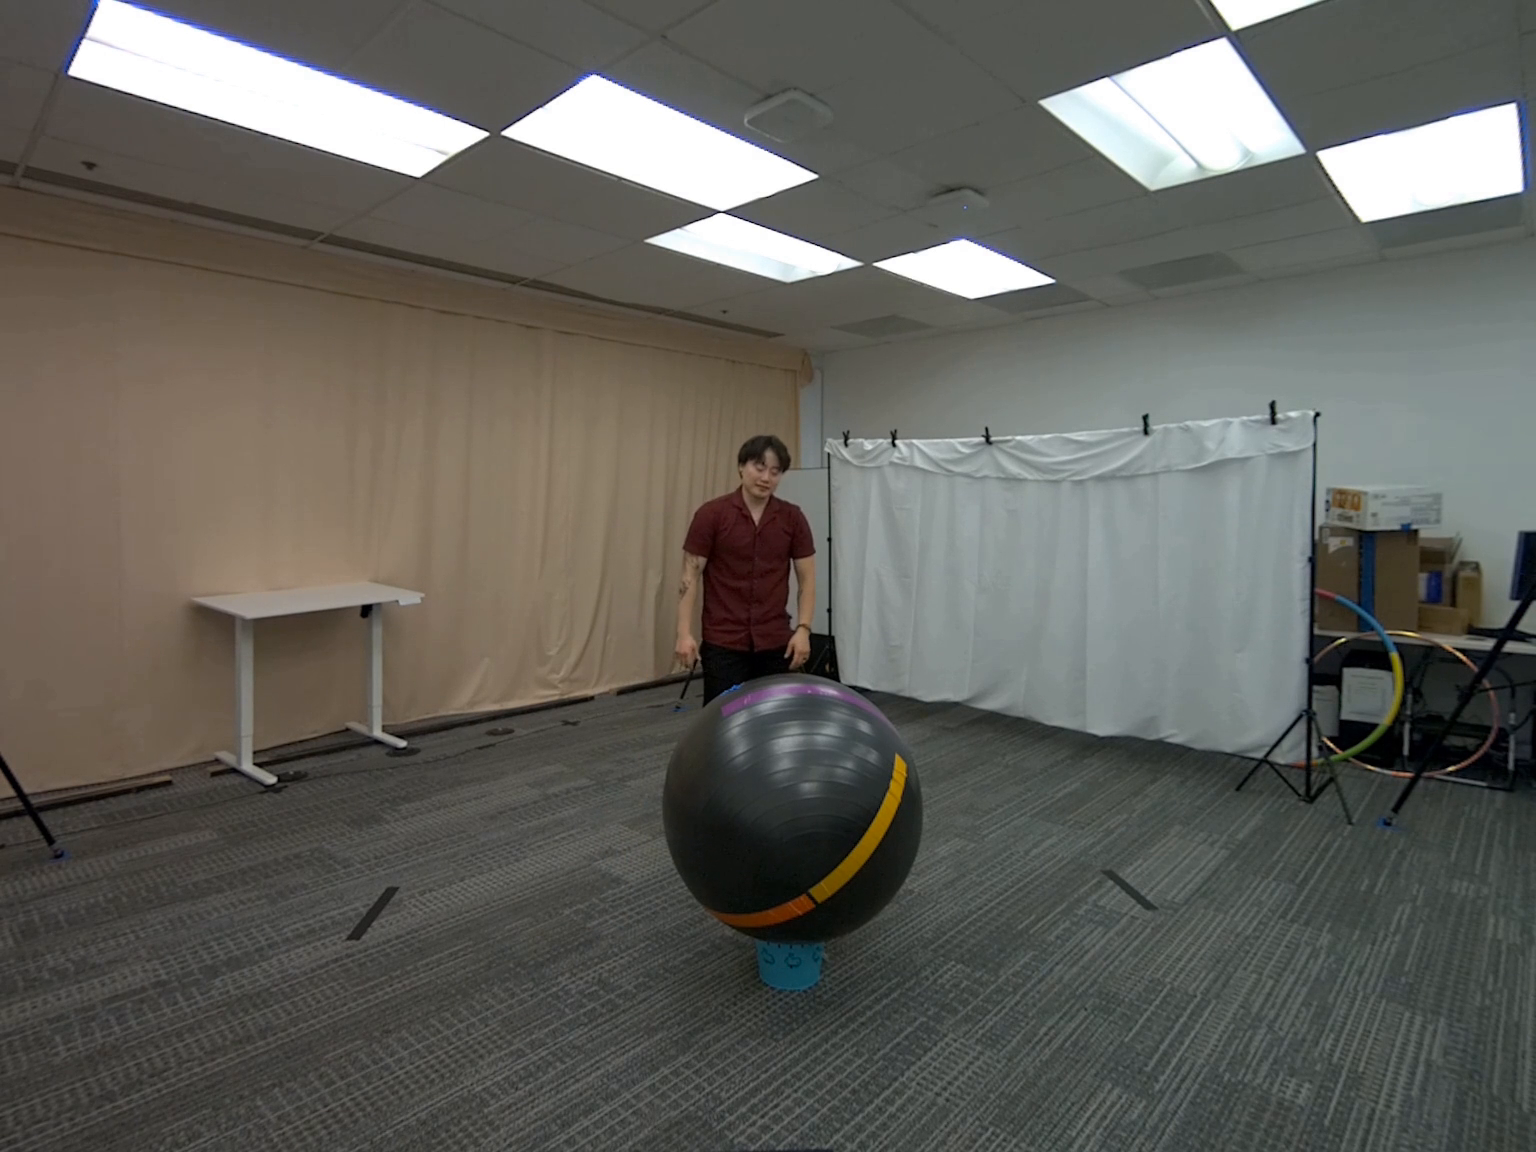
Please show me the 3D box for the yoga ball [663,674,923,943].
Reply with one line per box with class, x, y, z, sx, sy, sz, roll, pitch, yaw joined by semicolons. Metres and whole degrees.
yoga ball;0.071;0.674;2.483;0.757;0.756;0.760;0;4;-2
